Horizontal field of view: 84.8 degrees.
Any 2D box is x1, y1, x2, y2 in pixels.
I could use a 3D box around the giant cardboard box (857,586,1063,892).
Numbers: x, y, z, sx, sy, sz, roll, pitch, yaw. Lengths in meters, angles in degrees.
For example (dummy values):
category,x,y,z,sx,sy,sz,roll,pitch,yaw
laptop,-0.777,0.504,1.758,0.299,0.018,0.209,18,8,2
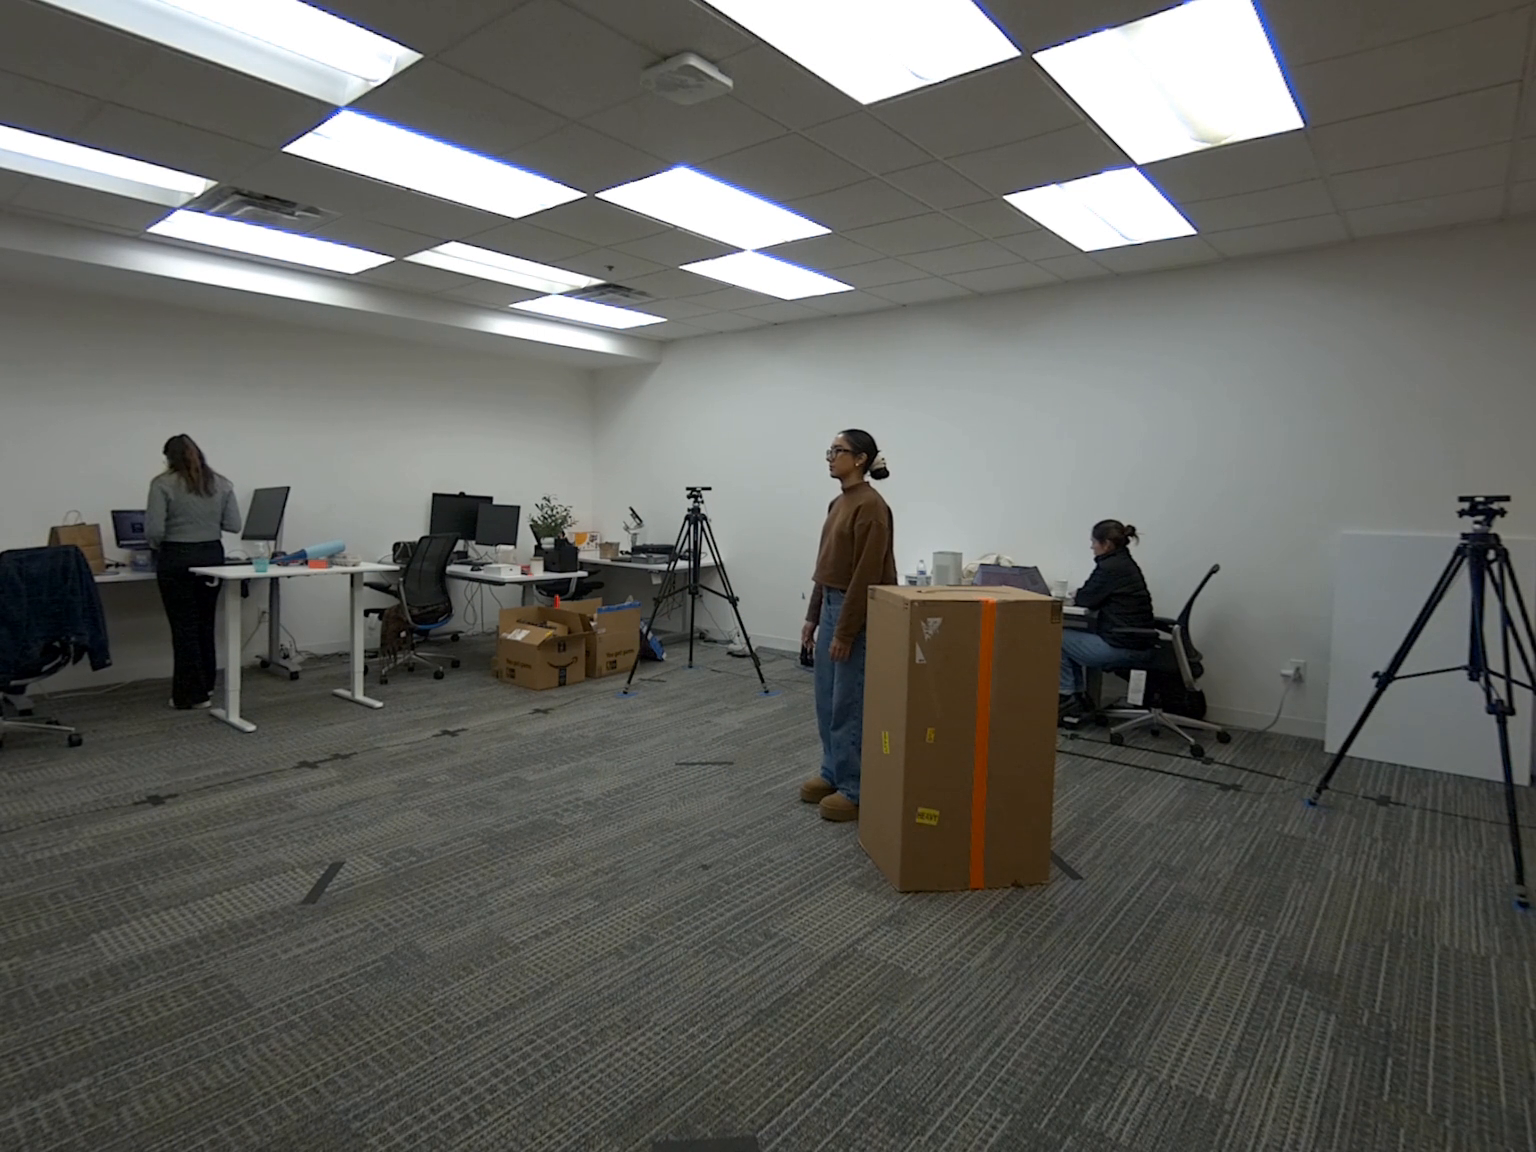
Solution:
category,x,y,z,sx,sy,sz,roll,pitch,yaw
giant cardboard box,0.694,0.567,3.173,0.570,1.023,0.433,1,3,-12
